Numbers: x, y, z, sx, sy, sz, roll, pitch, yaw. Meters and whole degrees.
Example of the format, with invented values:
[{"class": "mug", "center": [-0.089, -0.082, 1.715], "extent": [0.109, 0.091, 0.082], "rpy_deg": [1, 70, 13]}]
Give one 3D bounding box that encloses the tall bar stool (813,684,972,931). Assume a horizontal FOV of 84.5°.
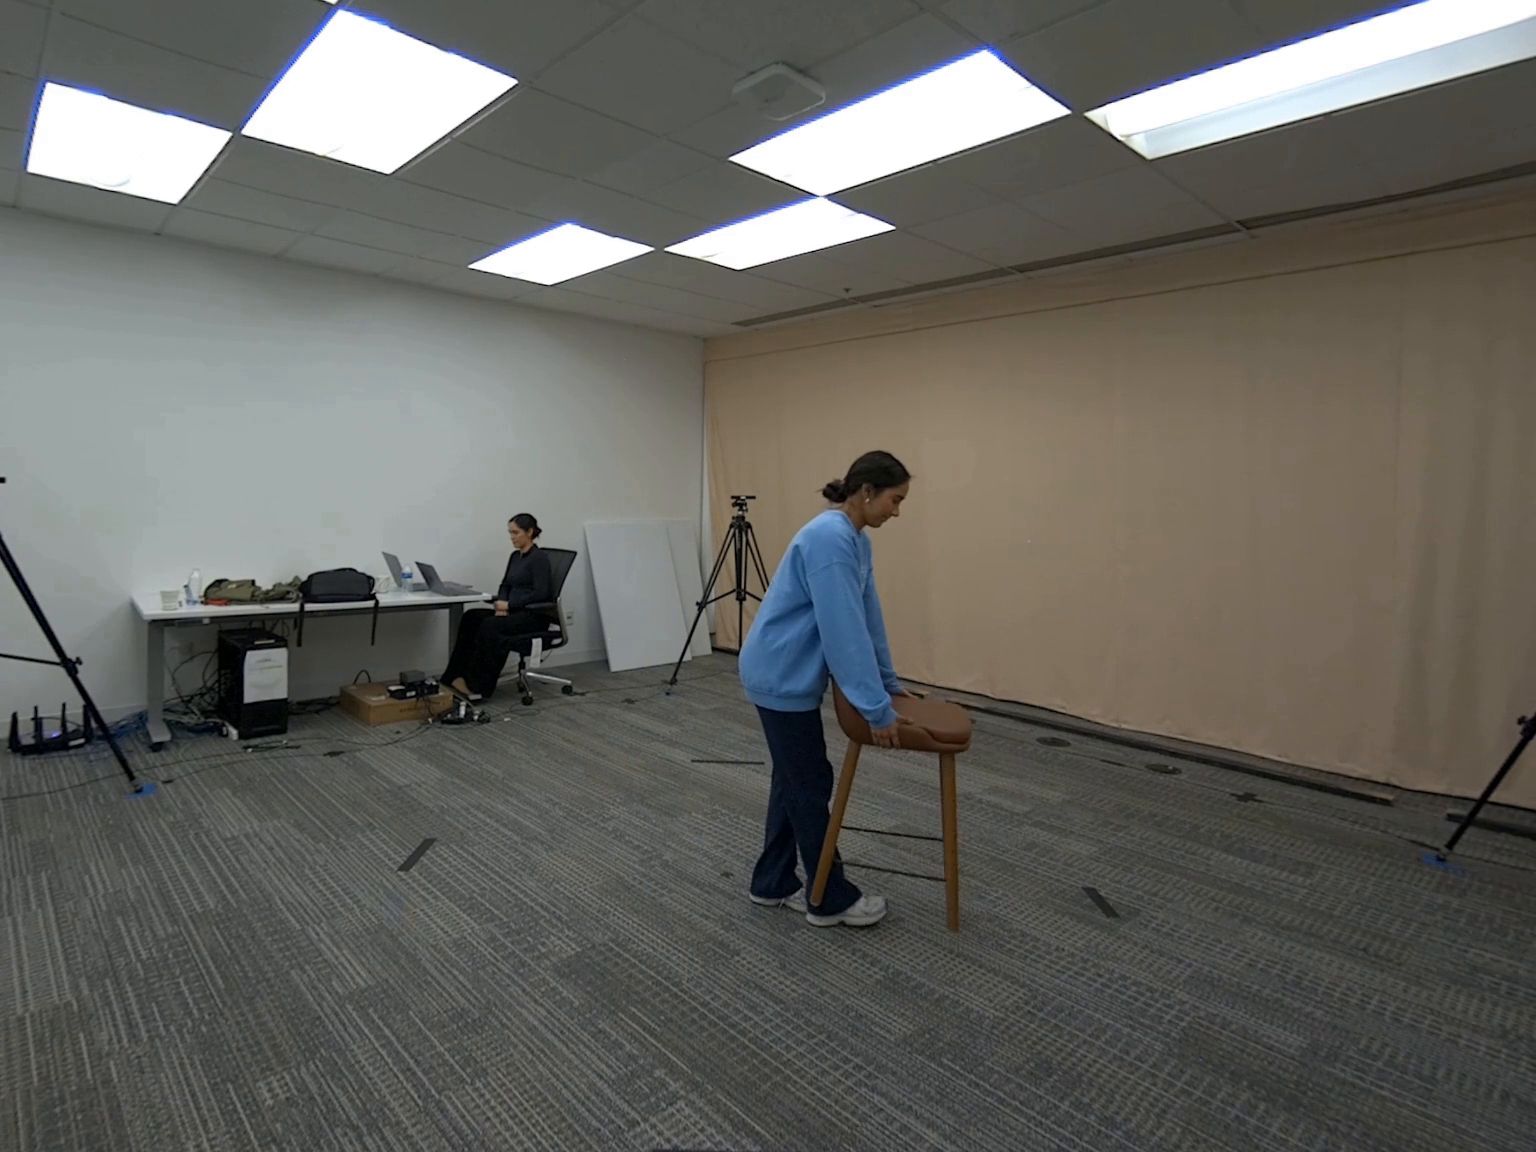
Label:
[{"class": "tall bar stool", "center": [0.417, 0.611, 2.756], "extent": [0.473, 0.889, 0.452], "rpy_deg": [4, 2, 12]}]
